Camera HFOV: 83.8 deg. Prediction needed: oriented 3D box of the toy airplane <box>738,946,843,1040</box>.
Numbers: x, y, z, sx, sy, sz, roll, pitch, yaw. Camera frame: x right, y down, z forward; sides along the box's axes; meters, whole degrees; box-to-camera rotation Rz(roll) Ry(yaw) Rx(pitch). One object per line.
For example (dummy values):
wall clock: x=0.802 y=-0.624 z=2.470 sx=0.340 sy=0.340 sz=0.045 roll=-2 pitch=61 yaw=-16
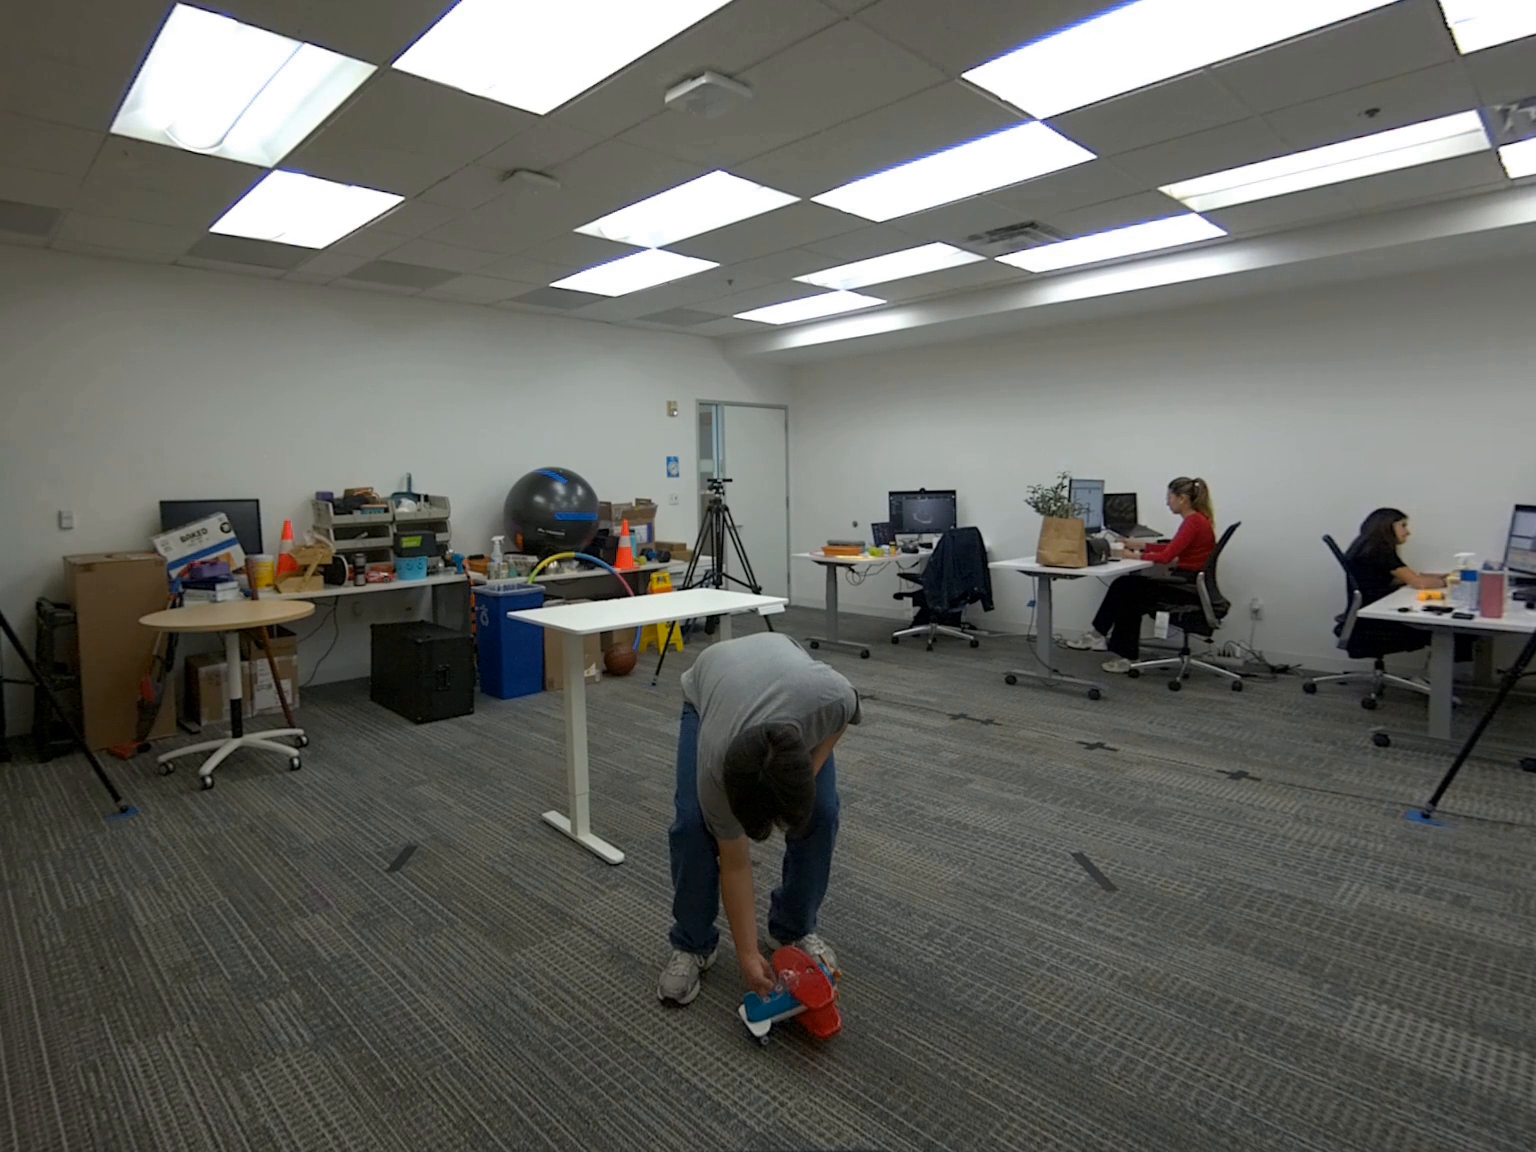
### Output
toy airplane: x=0.071 y=1.091 z=2.143 sx=0.258 sy=0.156 sz=0.253 roll=3 pitch=8 yaw=39
